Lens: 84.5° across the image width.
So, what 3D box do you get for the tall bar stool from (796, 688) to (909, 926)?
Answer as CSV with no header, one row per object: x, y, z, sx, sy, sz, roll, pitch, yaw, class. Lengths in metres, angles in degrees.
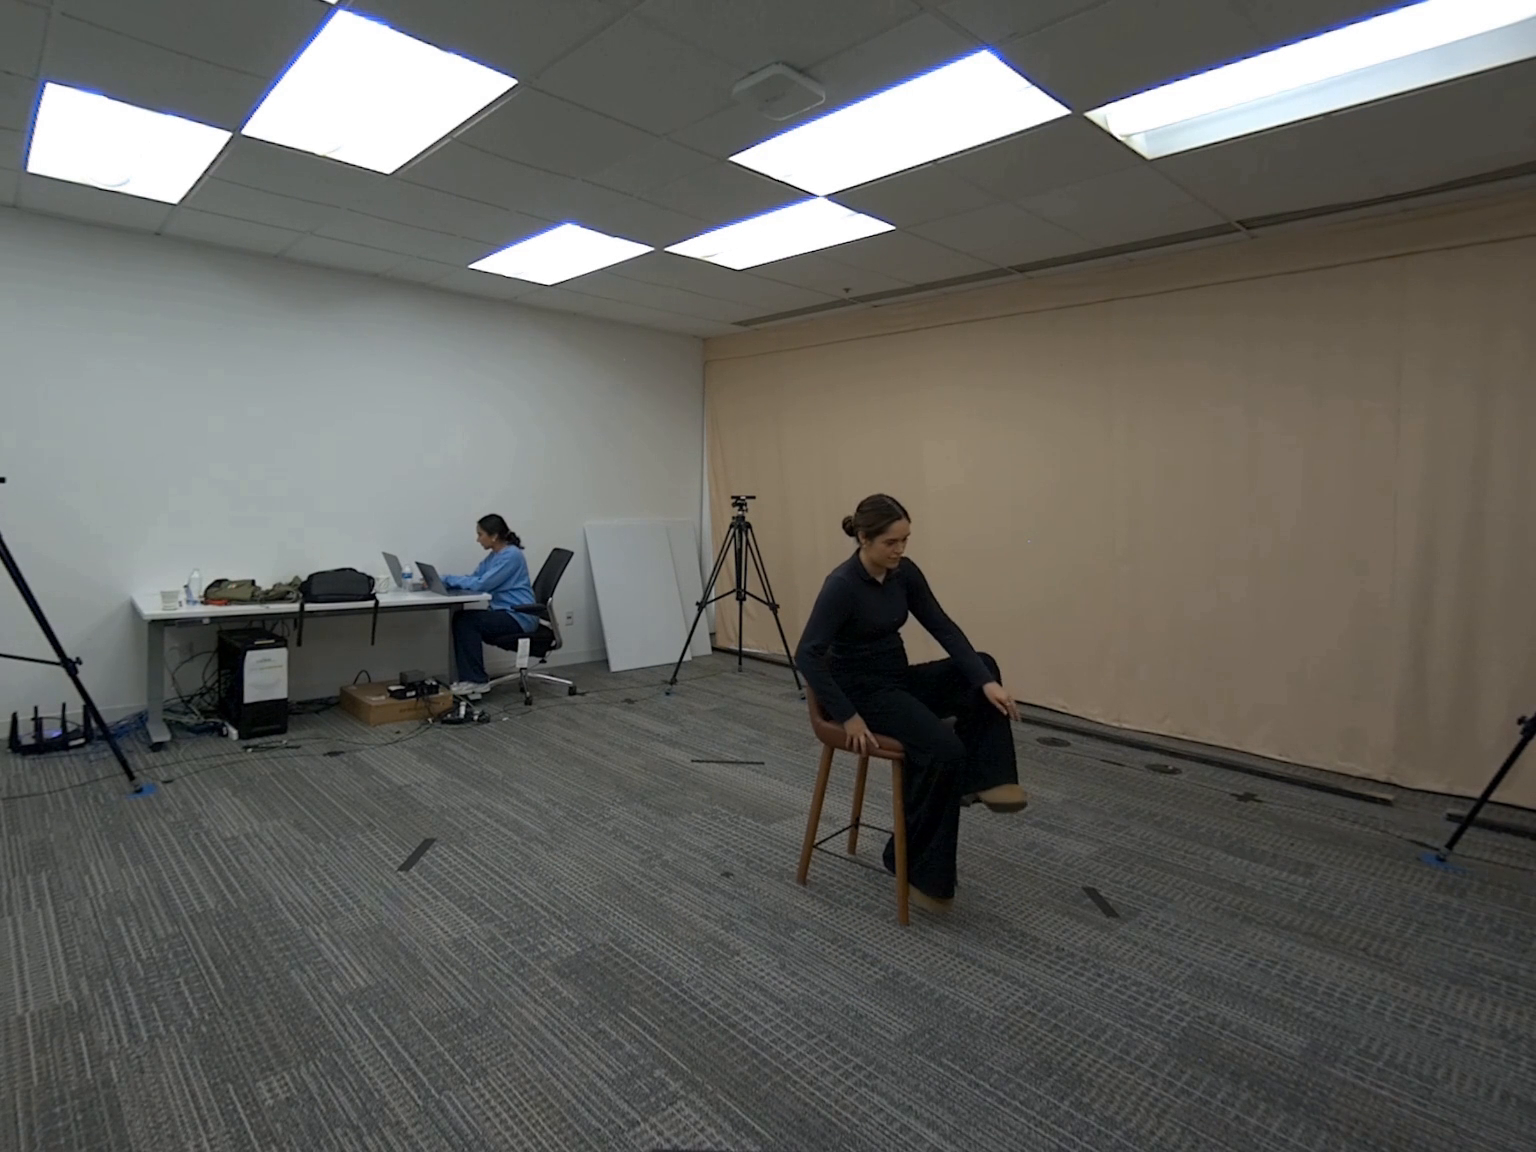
0.395,0.688,3.036,0.479,0.888,0.446,3,3,39,tall bar stool
